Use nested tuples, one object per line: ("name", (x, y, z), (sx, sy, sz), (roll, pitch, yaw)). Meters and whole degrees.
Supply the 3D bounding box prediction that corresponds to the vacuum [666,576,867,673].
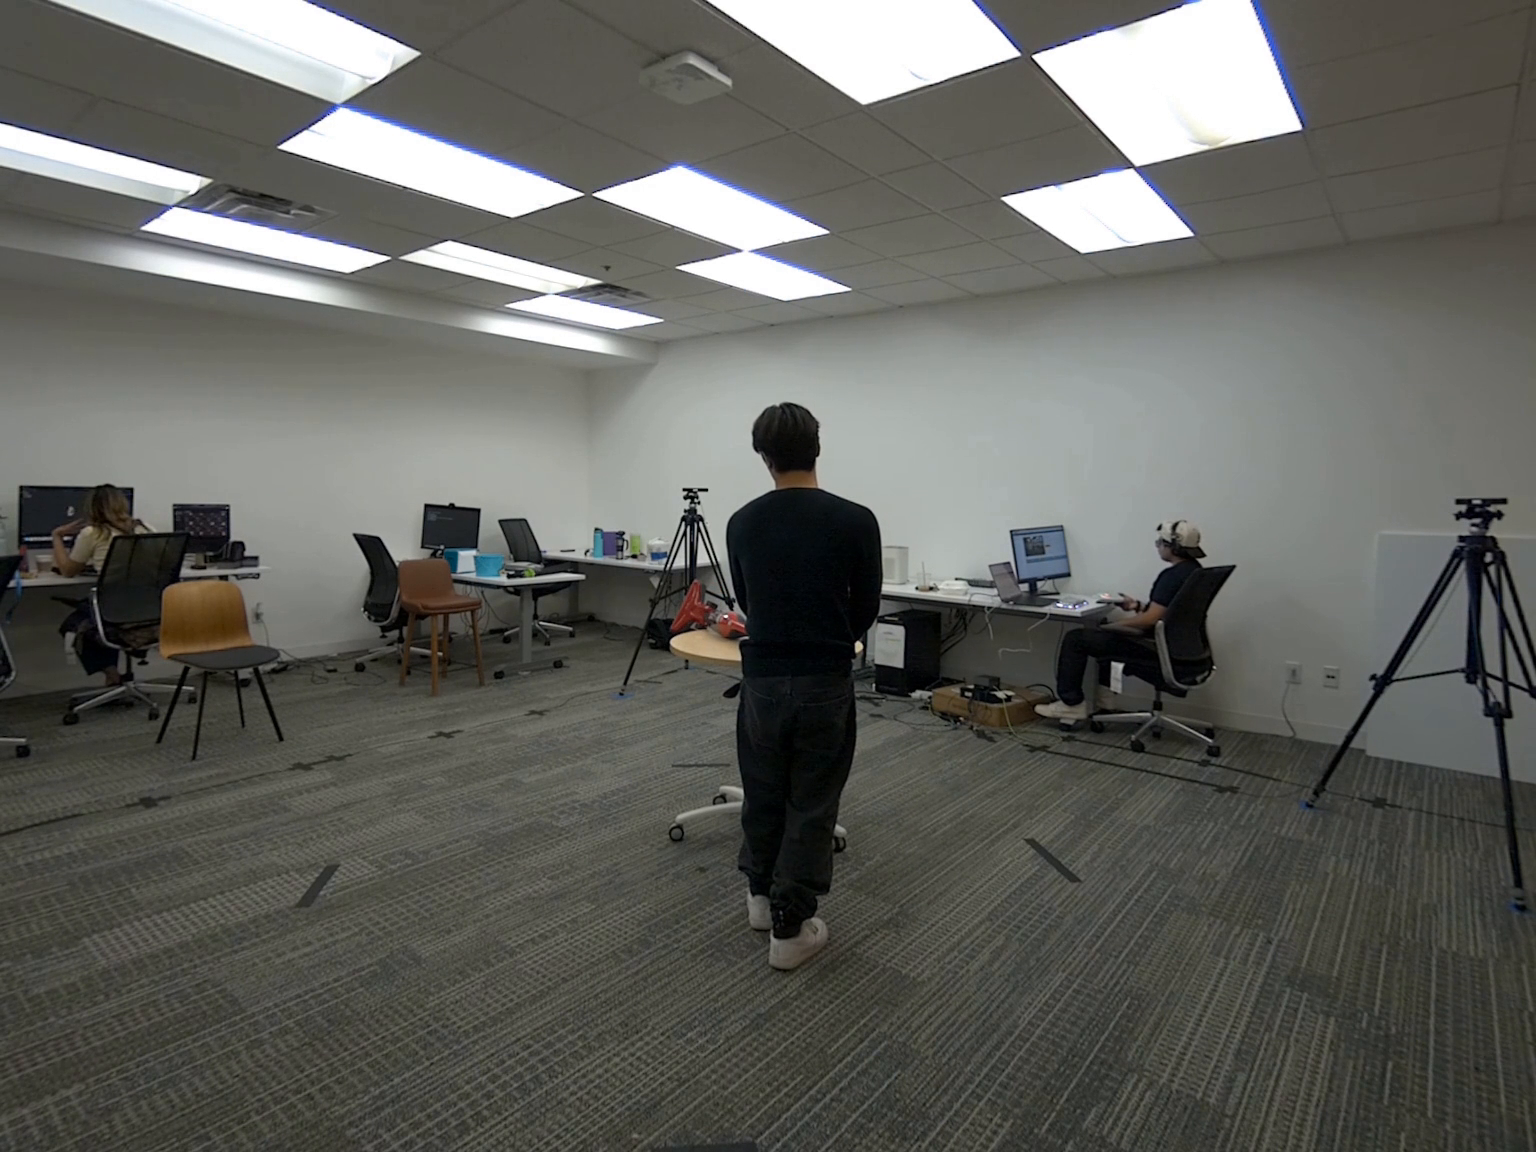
("vacuum", (-0.056, 0.230, 3.291), (0.139, 0.253, 1.086), (31, -8, -33))
